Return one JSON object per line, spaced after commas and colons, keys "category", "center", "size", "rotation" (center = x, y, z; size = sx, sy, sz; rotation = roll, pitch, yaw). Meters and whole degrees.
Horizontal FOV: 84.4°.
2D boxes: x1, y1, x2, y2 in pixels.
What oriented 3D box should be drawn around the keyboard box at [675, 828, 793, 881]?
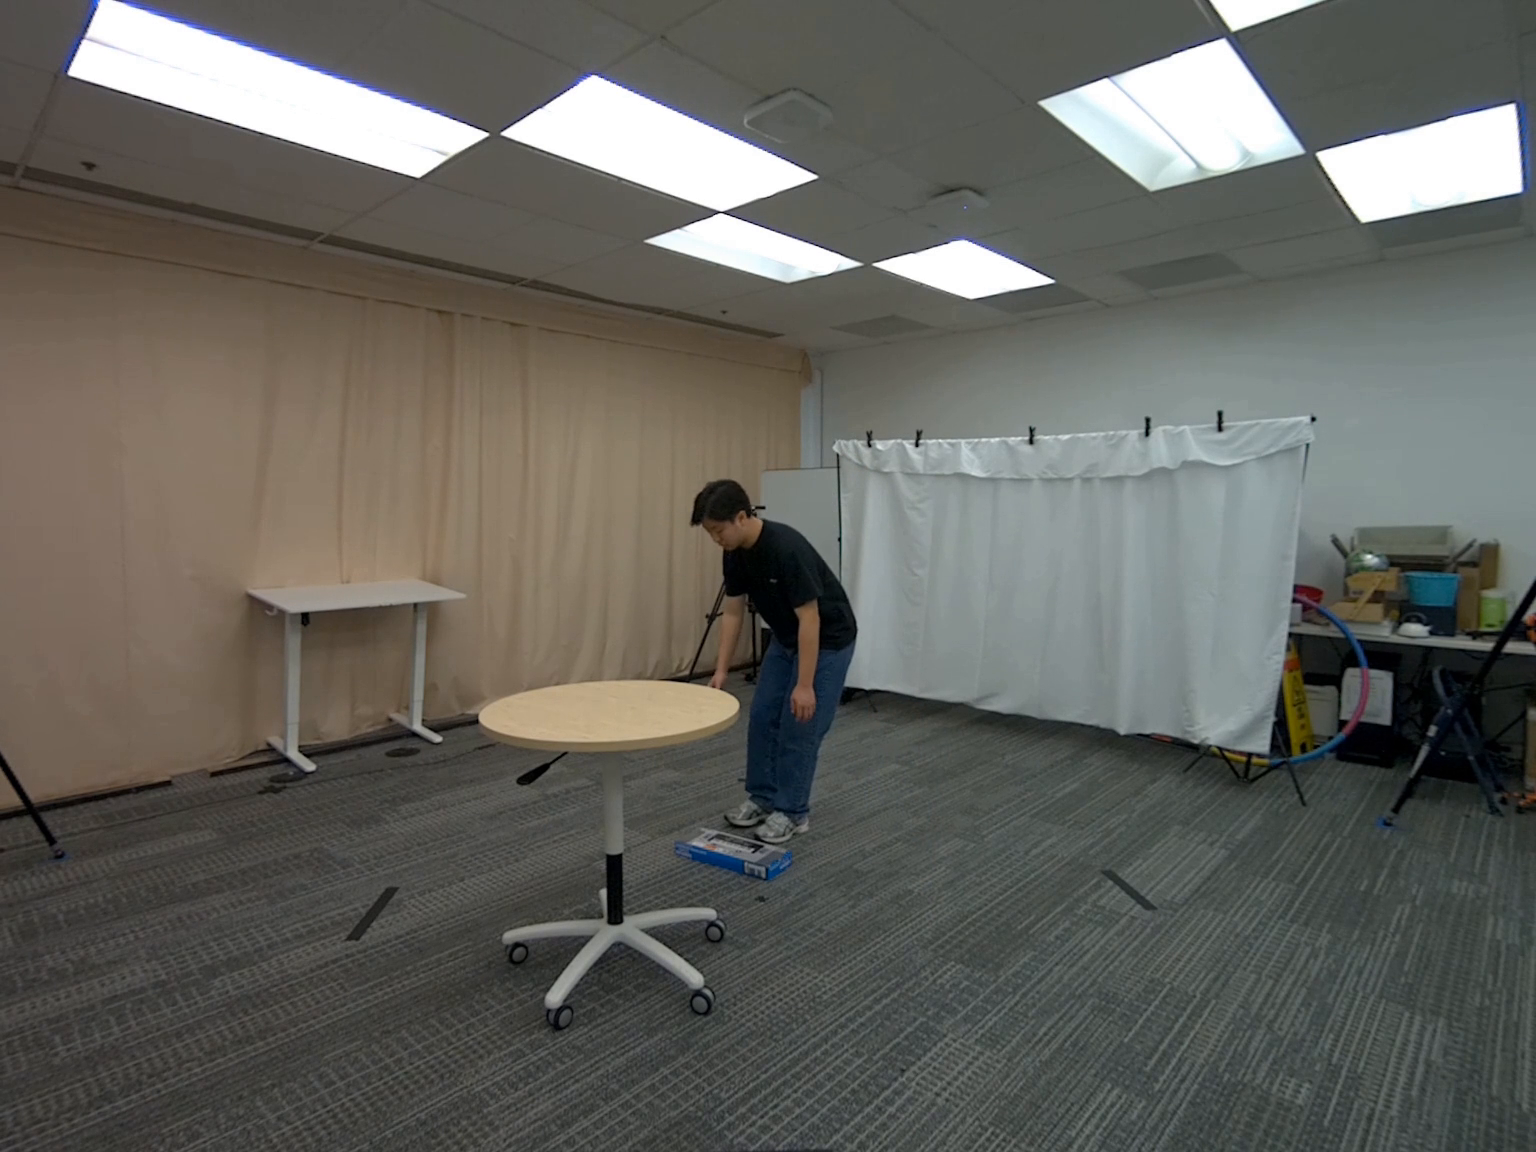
{"category": "keyboard box", "center": [-0.144, 1.089, 3.310], "size": [0.450, 0.059, 0.171], "rotation": [3, 6, 34]}
